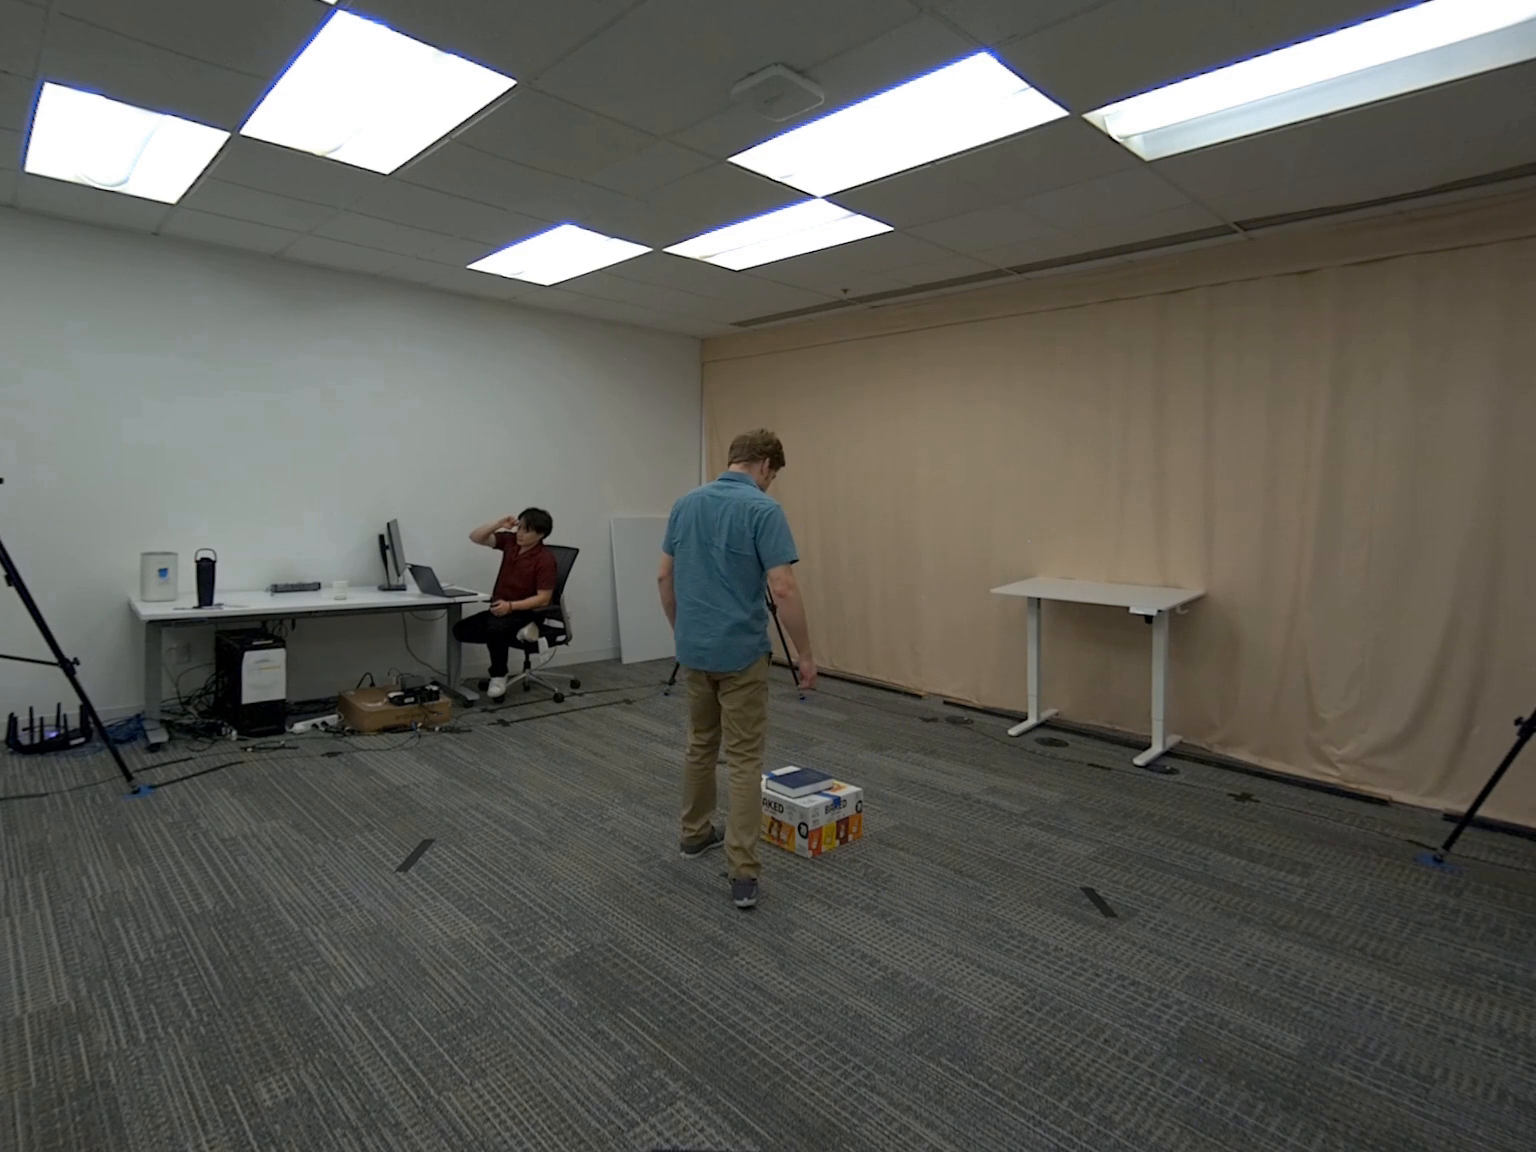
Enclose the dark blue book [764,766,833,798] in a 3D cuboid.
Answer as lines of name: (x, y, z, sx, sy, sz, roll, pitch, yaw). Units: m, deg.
dark blue book: (0.133, 0.863, 3.504, 0.239, 0.045, 0.167, -2, 6, -42)
